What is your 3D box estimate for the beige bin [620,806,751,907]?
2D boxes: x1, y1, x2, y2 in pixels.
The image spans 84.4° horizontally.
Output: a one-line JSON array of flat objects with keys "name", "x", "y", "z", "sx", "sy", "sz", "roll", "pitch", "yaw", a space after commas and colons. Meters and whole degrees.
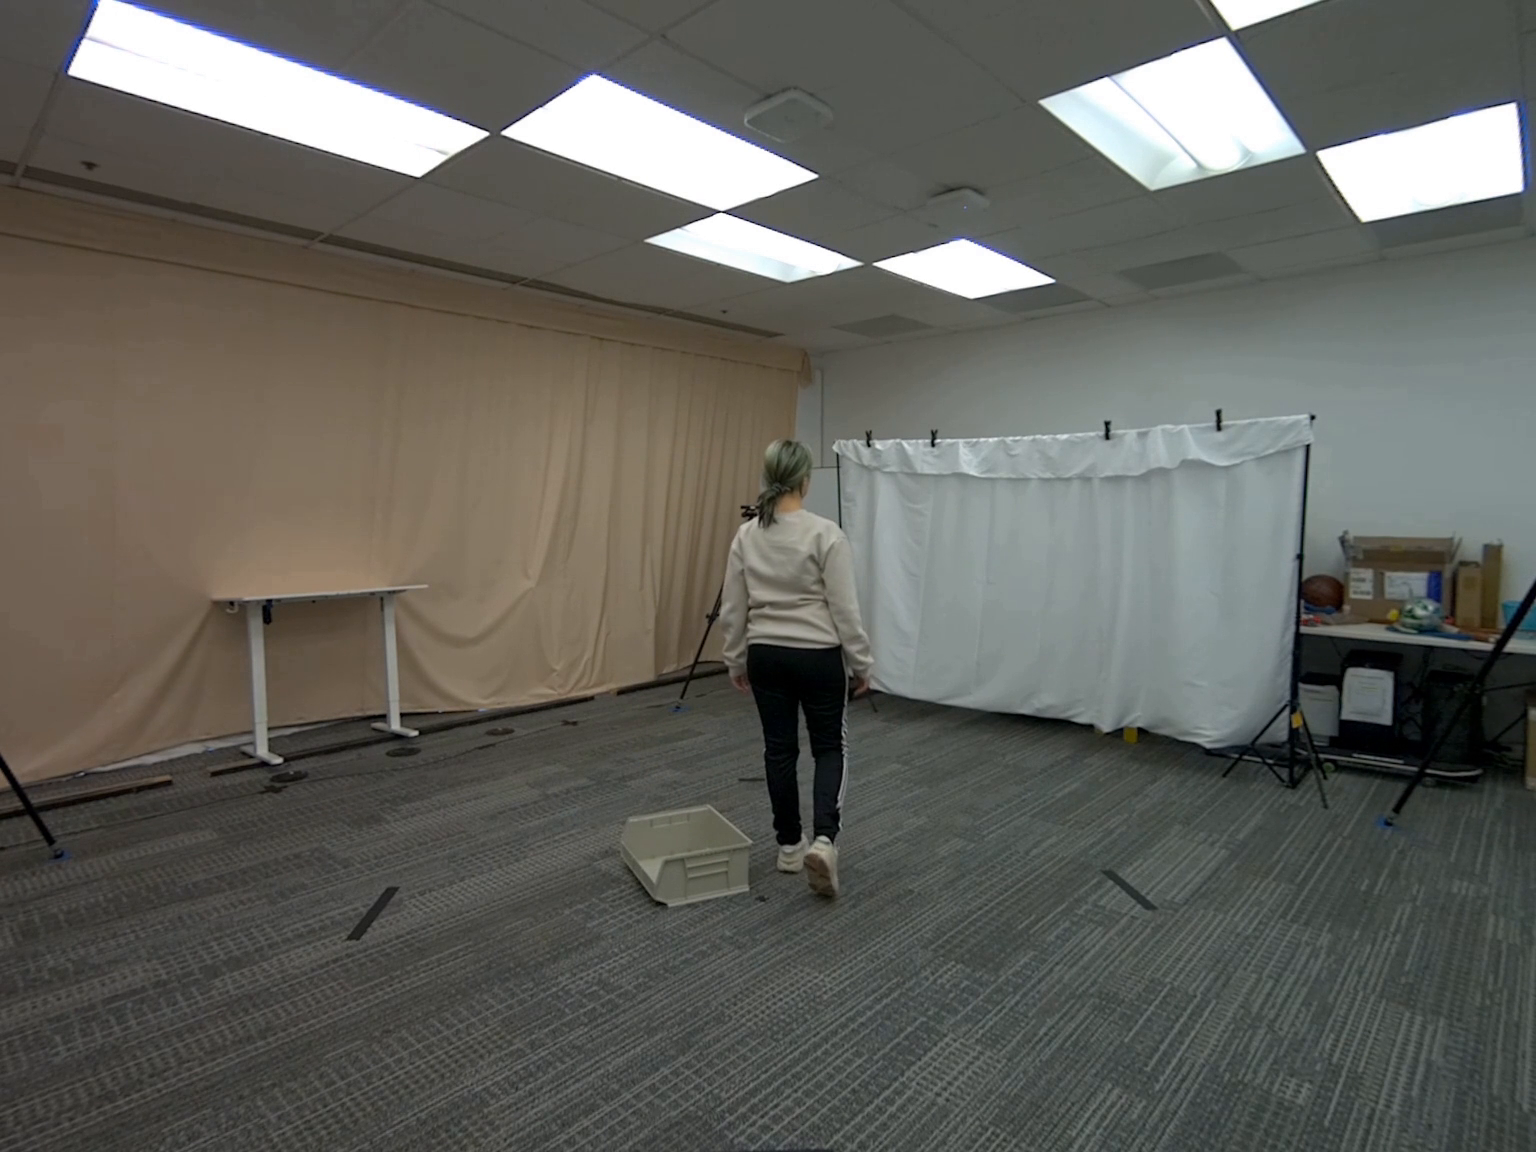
[{"name": "beige bin", "x": -0.315, "y": 1.044, "z": 3.158, "sx": 0.369, "sy": 0.188, "sz": 0.433, "roll": -2, "pitch": 4, "yaw": -25}]
